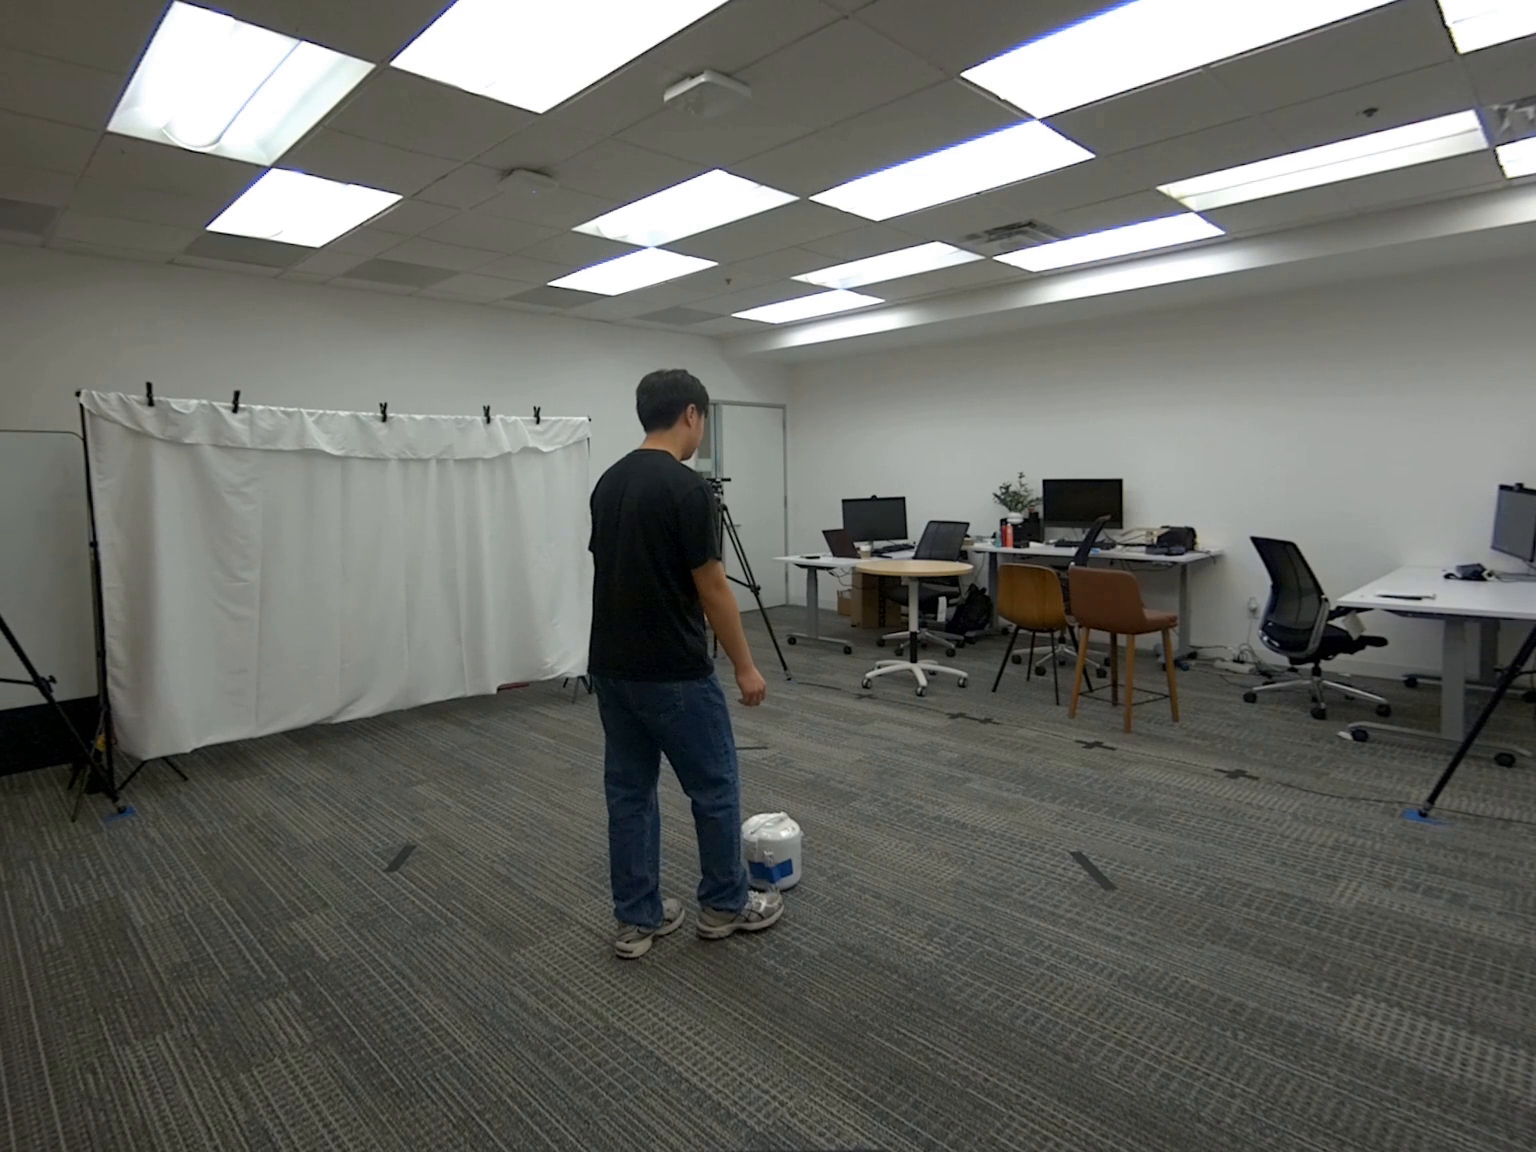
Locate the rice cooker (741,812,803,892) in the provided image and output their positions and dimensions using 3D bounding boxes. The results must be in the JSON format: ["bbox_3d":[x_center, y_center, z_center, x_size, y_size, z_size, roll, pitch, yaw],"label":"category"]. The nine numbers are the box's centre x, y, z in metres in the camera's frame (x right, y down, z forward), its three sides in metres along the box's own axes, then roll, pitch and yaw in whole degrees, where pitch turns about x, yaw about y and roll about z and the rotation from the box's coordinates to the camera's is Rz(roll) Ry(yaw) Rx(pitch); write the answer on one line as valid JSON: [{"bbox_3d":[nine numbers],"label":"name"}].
[{"bbox_3d":[0.011,0.941,2.960,0.215,0.232,0.224,-6,7,-43],"label":"rice cooker"}]
